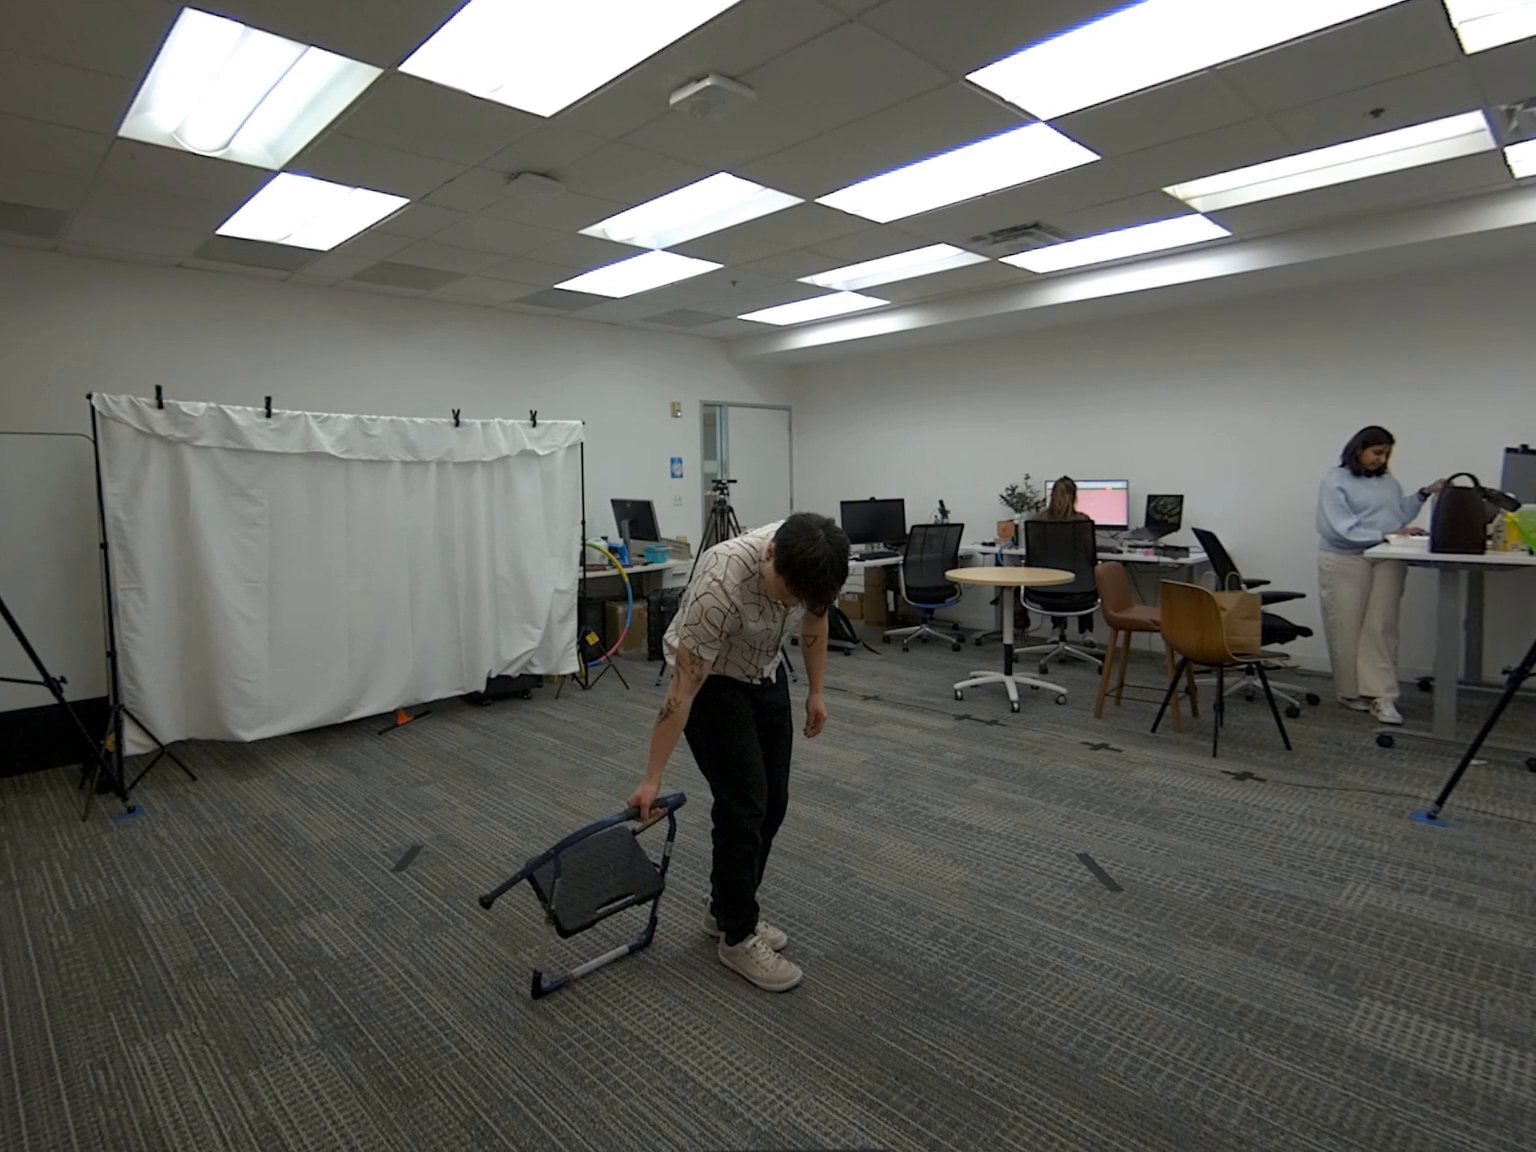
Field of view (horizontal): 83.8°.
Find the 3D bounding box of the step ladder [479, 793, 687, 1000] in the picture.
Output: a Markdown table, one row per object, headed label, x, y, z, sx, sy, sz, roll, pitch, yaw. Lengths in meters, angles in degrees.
| label | x | y | z | sx | sy | sz | roll | pitch | yaw |
| --- | --- | --- | --- | --- | --- | --- | --- | --- | --- |
| step ladder | -0.477 | 0.799 | 2.410 | 0.419 | 0.600 | 0.362 | -7 | 41 | -46 |
